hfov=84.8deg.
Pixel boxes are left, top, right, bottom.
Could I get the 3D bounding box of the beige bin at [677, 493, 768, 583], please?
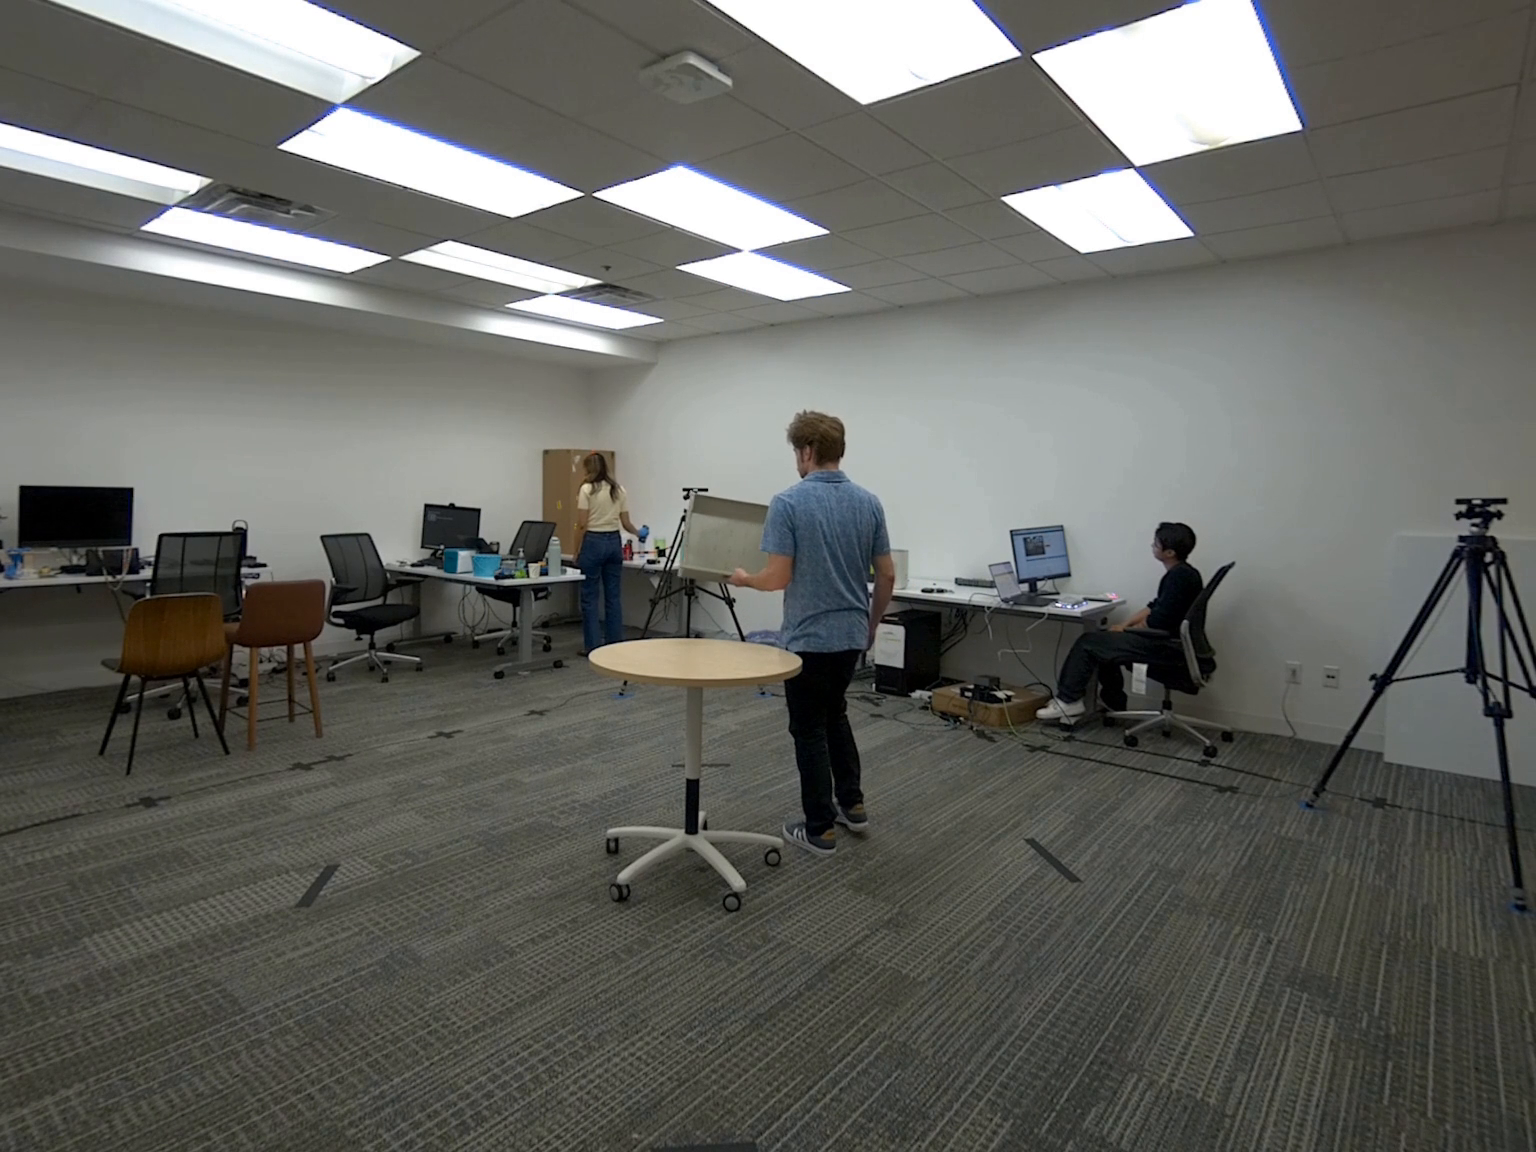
[{"bbox_3d":[-0.167,-0.154,3.615,0.420,0.381,0.188,9,-13,-4],"label":"beige bin"}]
